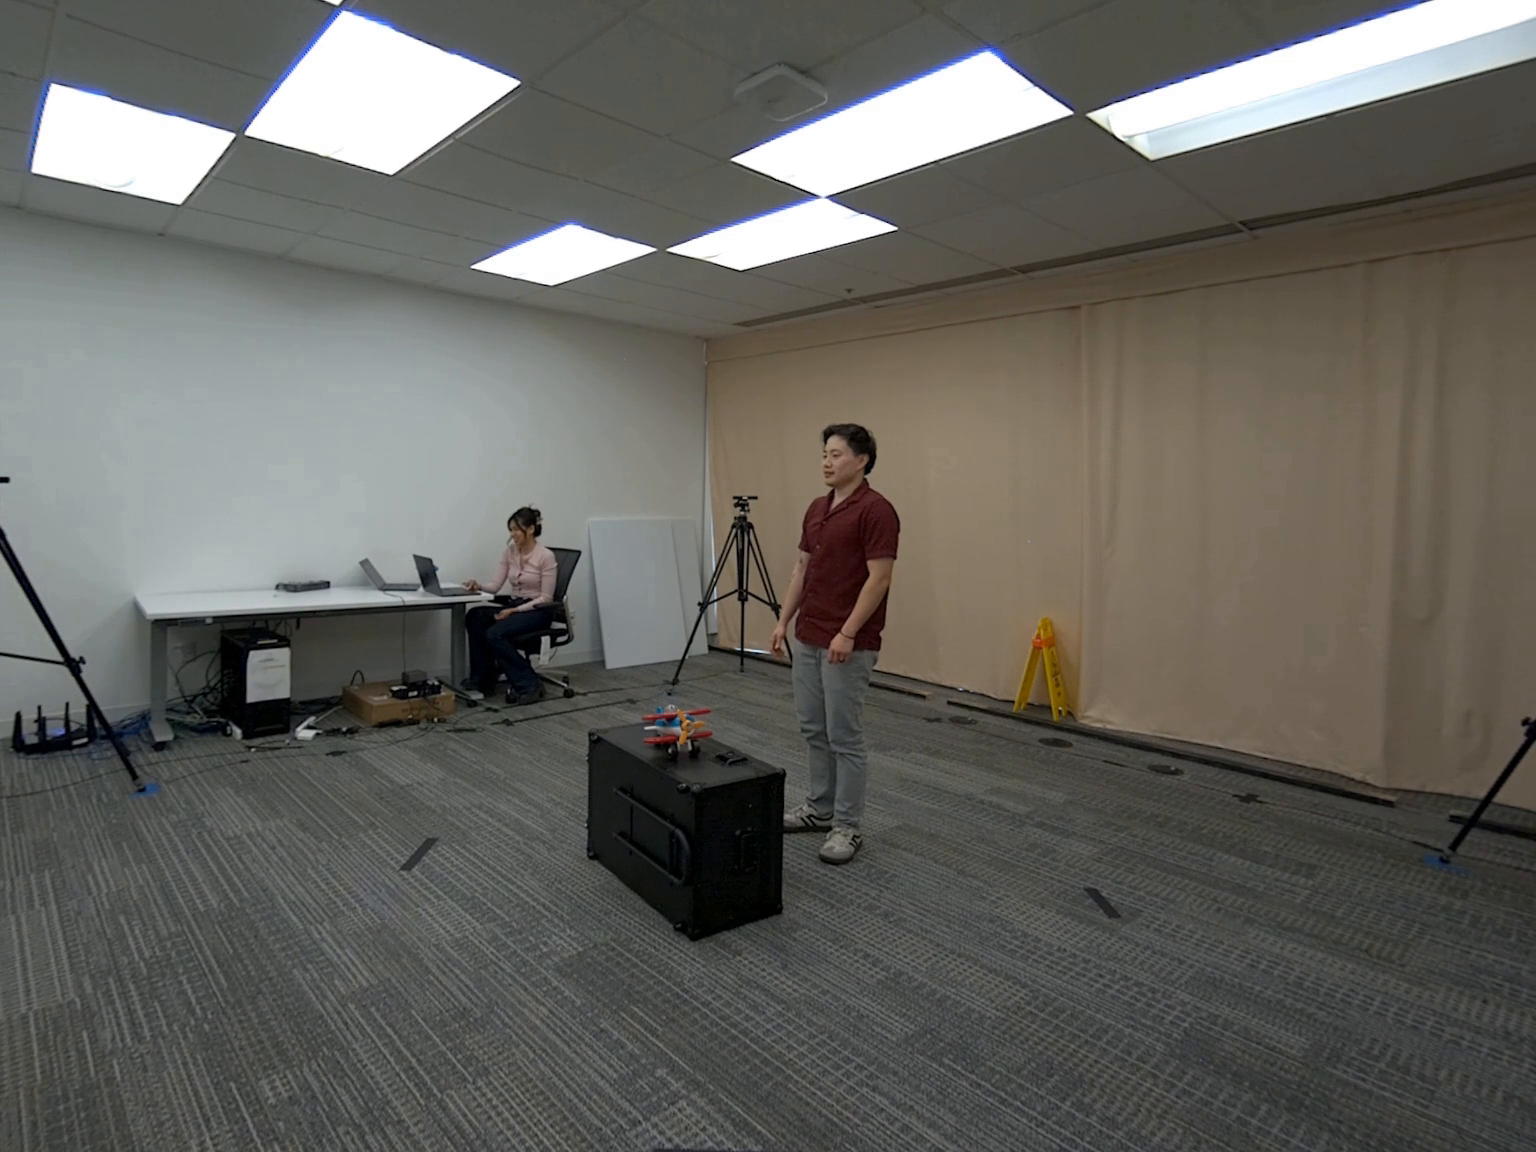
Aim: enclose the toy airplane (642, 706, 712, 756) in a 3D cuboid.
[{"bbox_3d":[-0.359,0.548,2.995,0.265,0.156,0.246,6,6,32],"label":"toy airplane"}]
